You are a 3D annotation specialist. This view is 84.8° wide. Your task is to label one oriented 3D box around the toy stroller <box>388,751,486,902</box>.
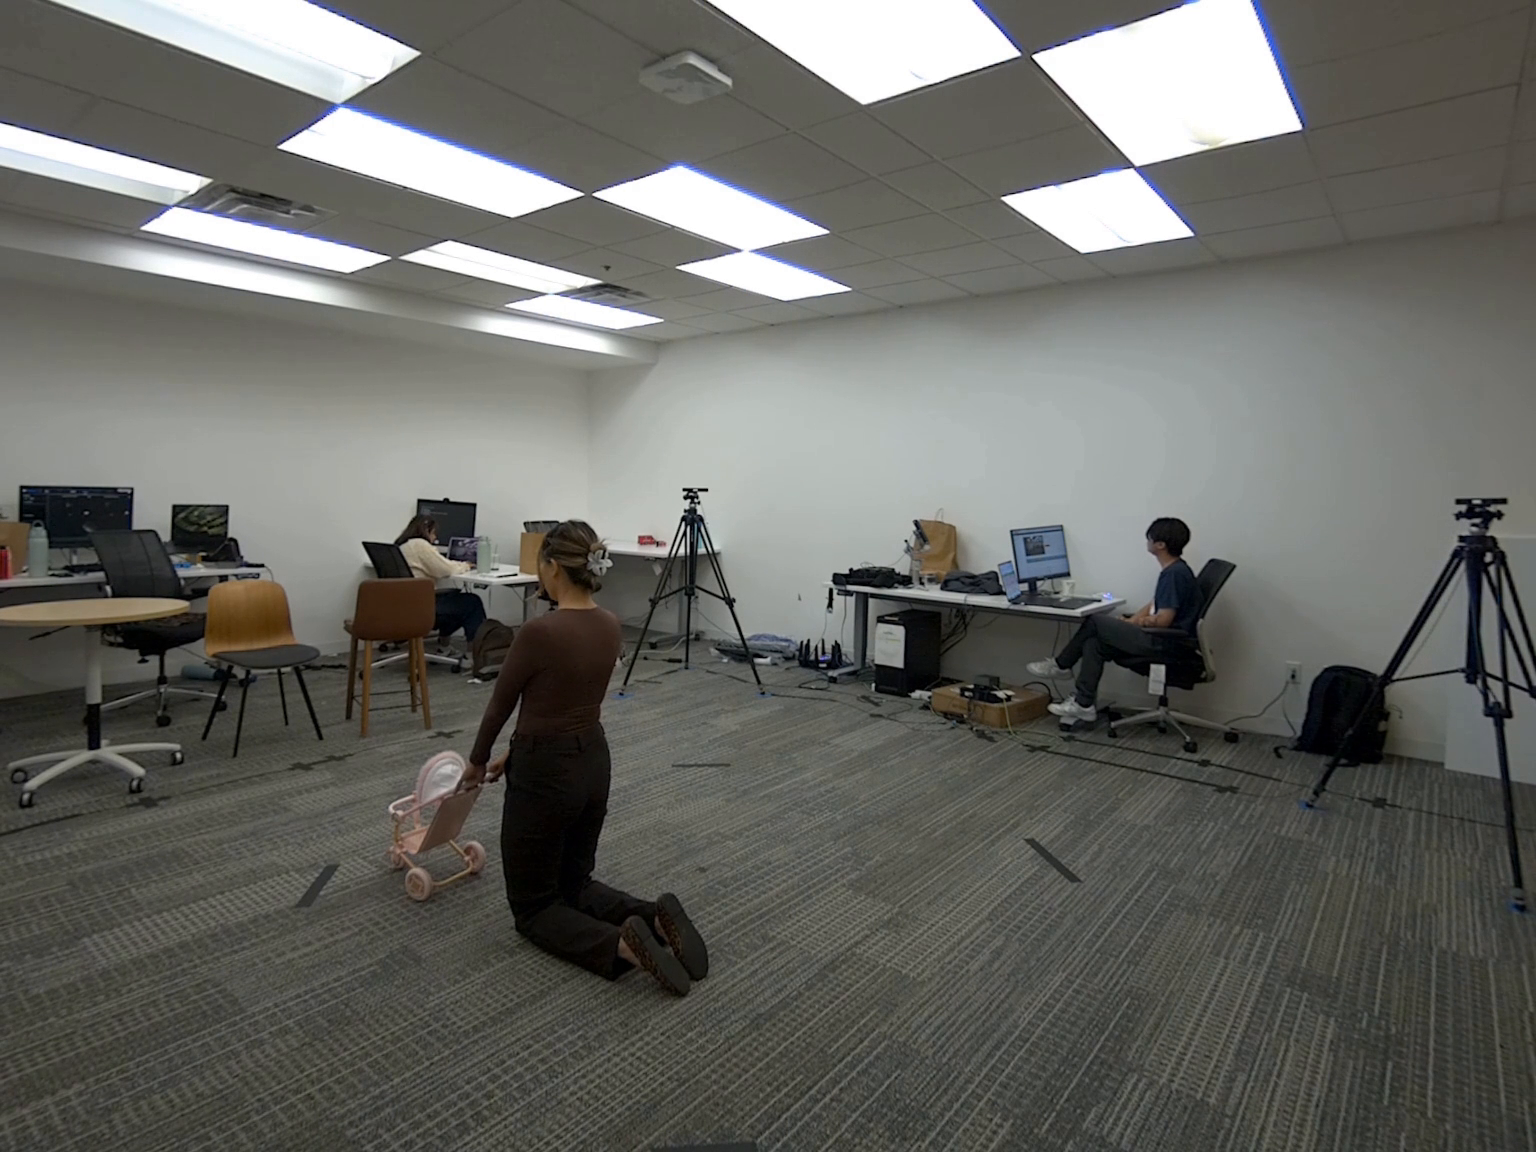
[{"bbox_3d":[-1.171,0.846,2.969,0.354,0.531,0.273,24,15,30],"label":"toy stroller"}]
